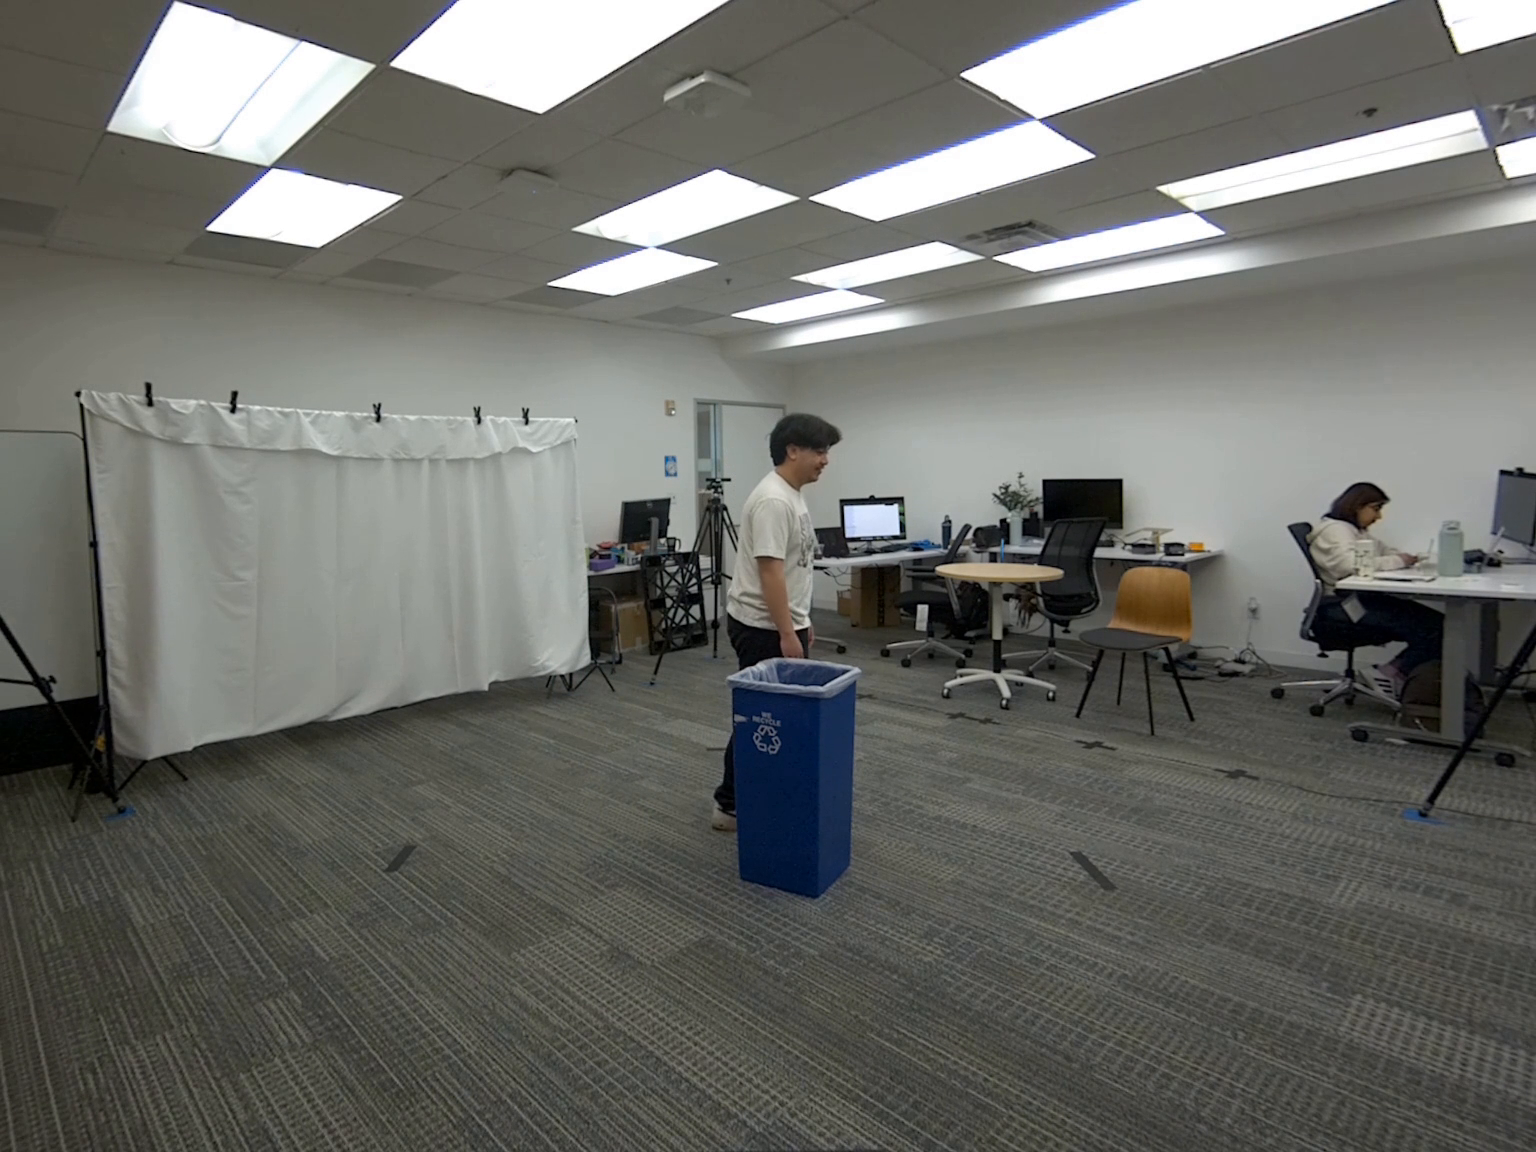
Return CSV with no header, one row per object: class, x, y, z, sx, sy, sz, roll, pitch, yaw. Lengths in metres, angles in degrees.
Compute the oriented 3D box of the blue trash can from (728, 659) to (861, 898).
blue trash can,0.104,0.693,3.010,0.384,0.711,0.370,1,5,29
